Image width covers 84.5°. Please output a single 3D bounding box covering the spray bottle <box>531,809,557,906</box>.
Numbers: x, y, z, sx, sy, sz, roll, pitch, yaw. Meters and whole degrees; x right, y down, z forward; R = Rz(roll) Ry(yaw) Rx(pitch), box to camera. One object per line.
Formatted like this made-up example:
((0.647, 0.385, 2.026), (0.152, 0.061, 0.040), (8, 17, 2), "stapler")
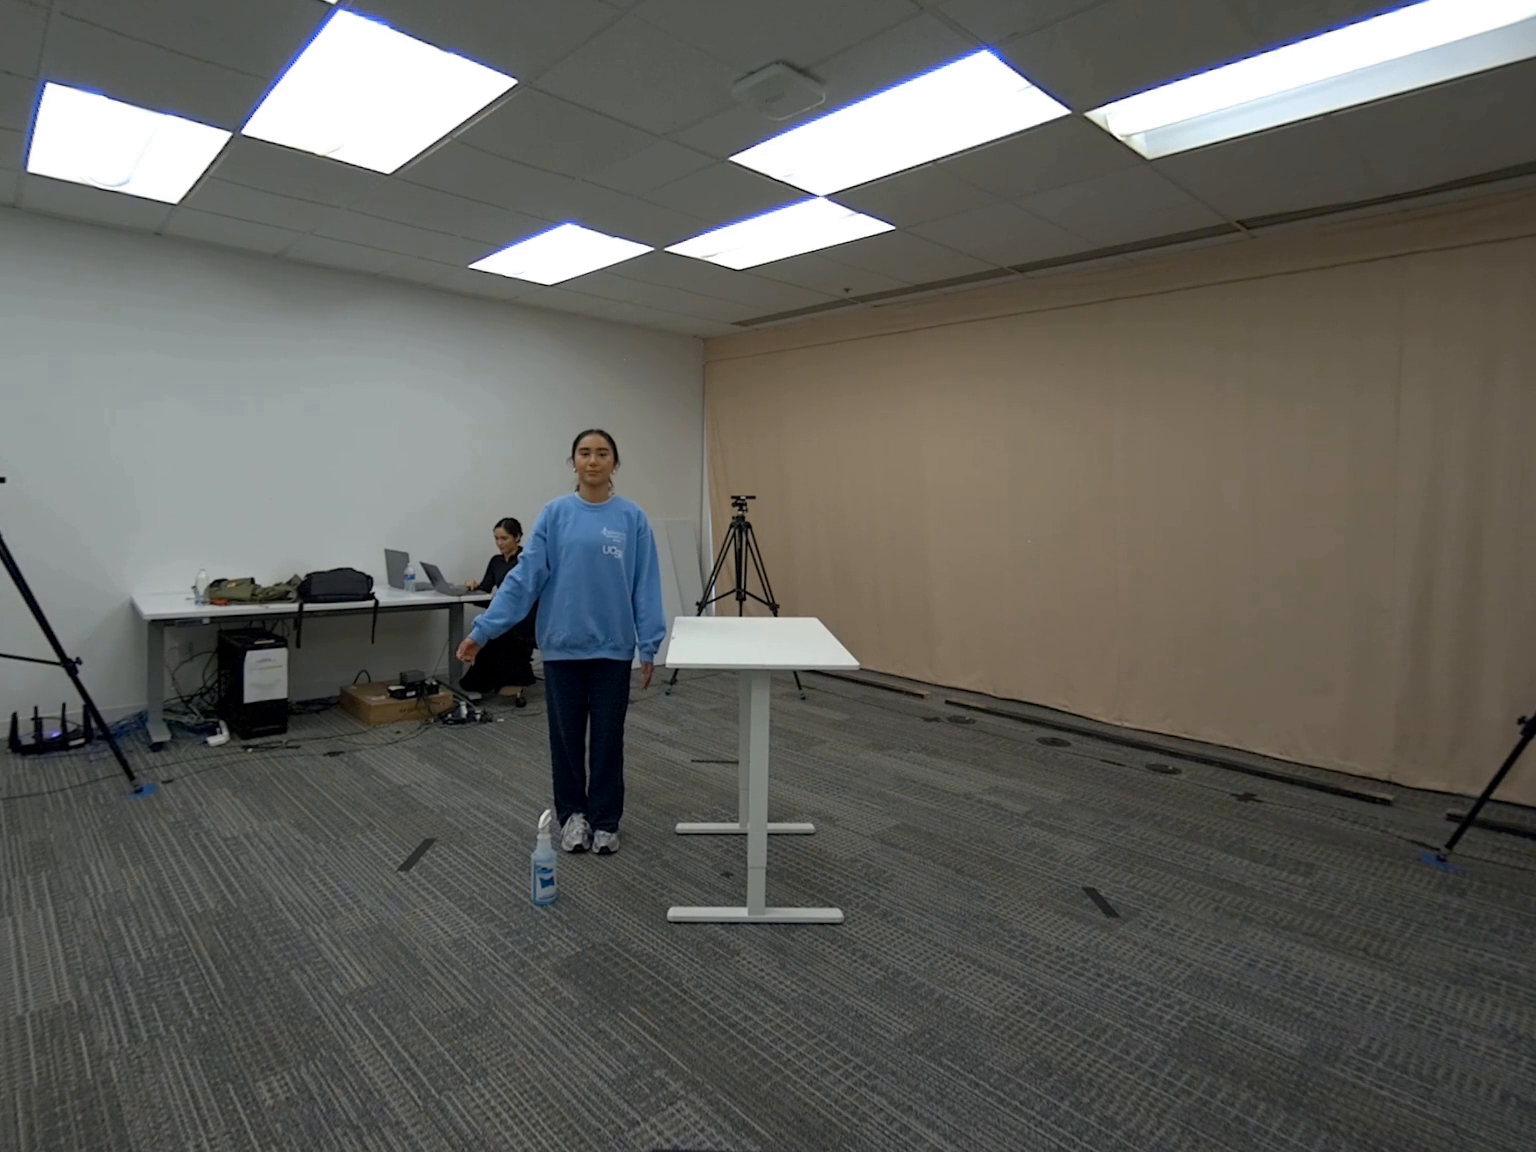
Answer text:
((-0.778, 0.972, 2.874), (0.089, 0.296, 0.088), (4, 4, 29), "spray bottle")
